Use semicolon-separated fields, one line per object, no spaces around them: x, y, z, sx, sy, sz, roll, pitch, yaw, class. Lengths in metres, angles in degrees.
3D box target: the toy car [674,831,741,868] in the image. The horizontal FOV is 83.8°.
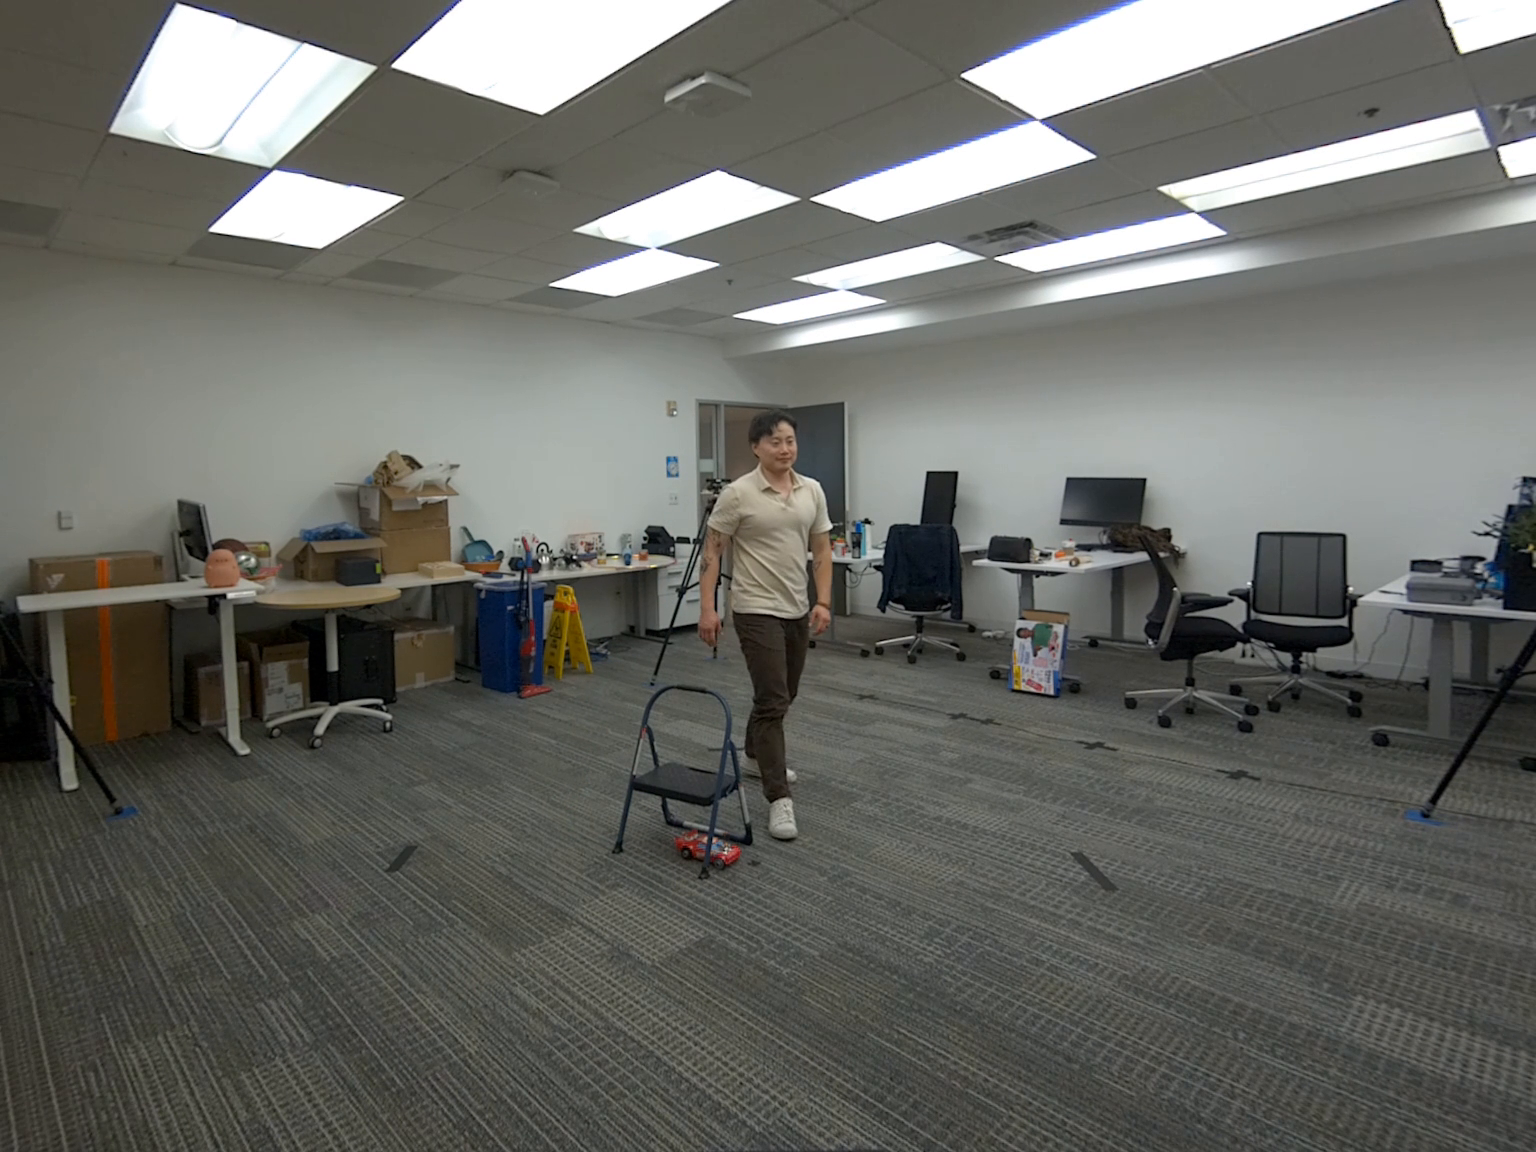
-0.227;1.011;3.156;0.263;0.082;0.127;16;14;31;toy car
